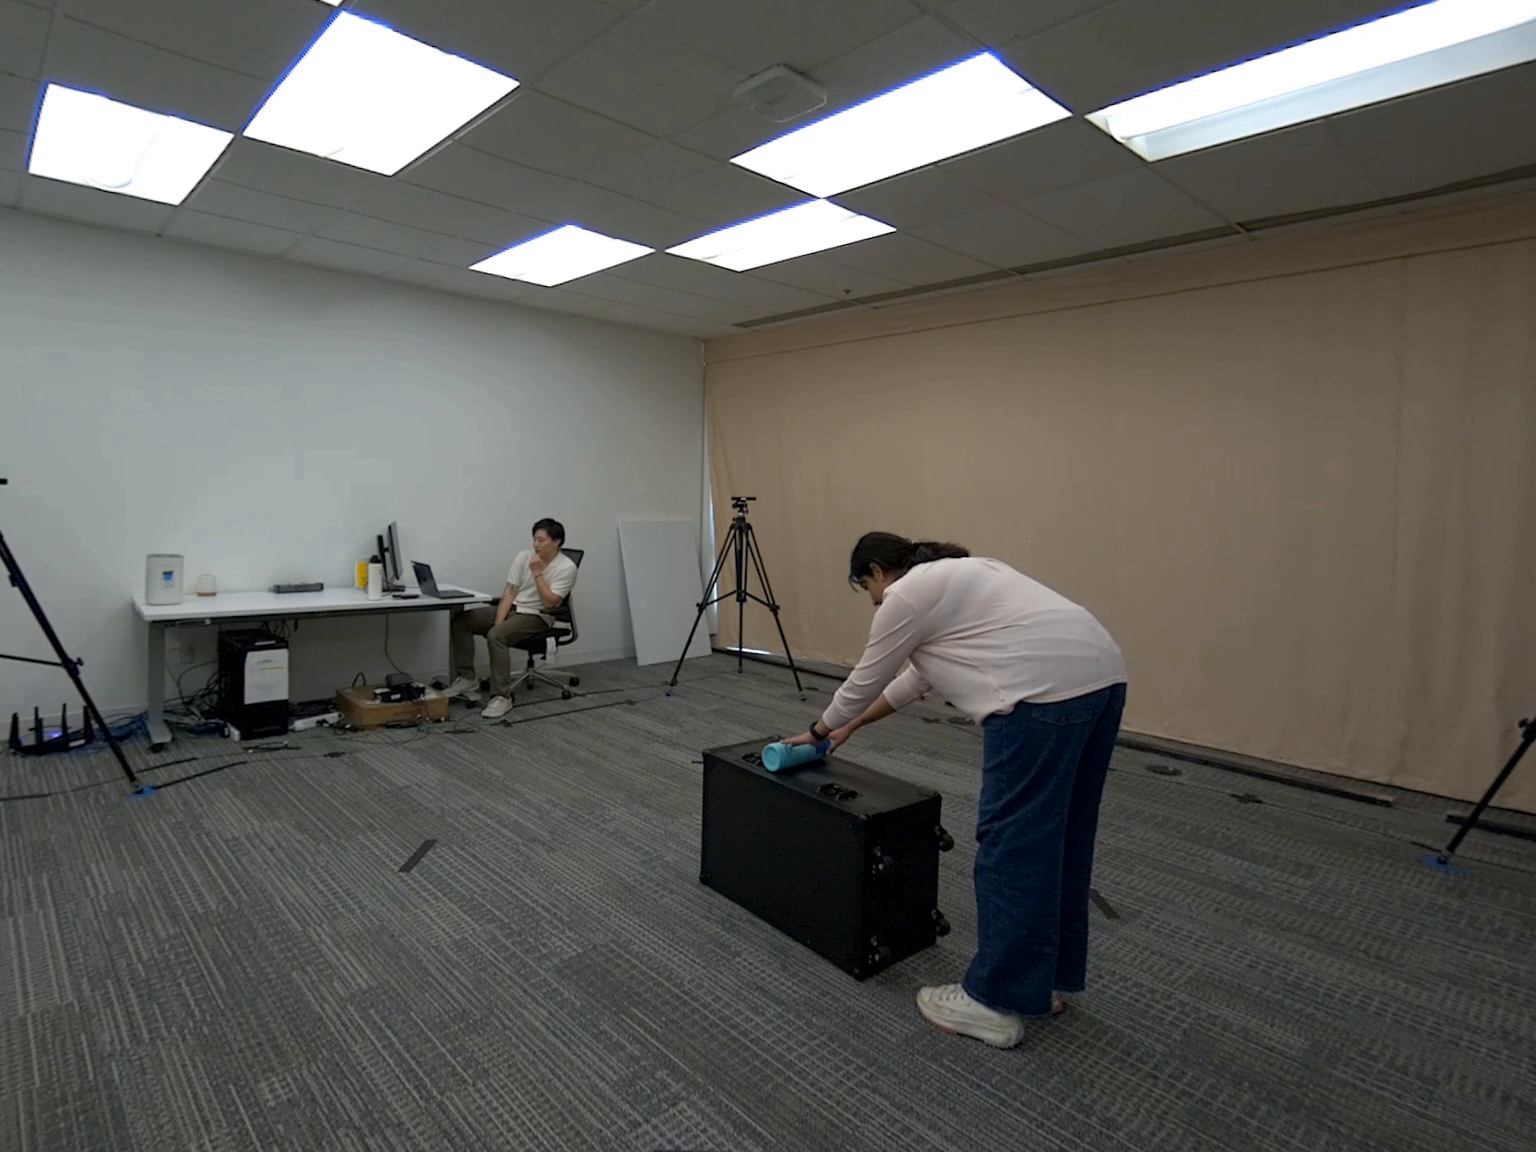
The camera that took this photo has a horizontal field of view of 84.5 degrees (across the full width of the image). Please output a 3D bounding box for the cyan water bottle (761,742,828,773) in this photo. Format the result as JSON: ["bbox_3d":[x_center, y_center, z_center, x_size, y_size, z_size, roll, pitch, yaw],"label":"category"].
[{"bbox_3d":[0.100,0.599,2.894,0.277,0.092,0.095,-2,5,-44],"label":"cyan water bottle"}]
